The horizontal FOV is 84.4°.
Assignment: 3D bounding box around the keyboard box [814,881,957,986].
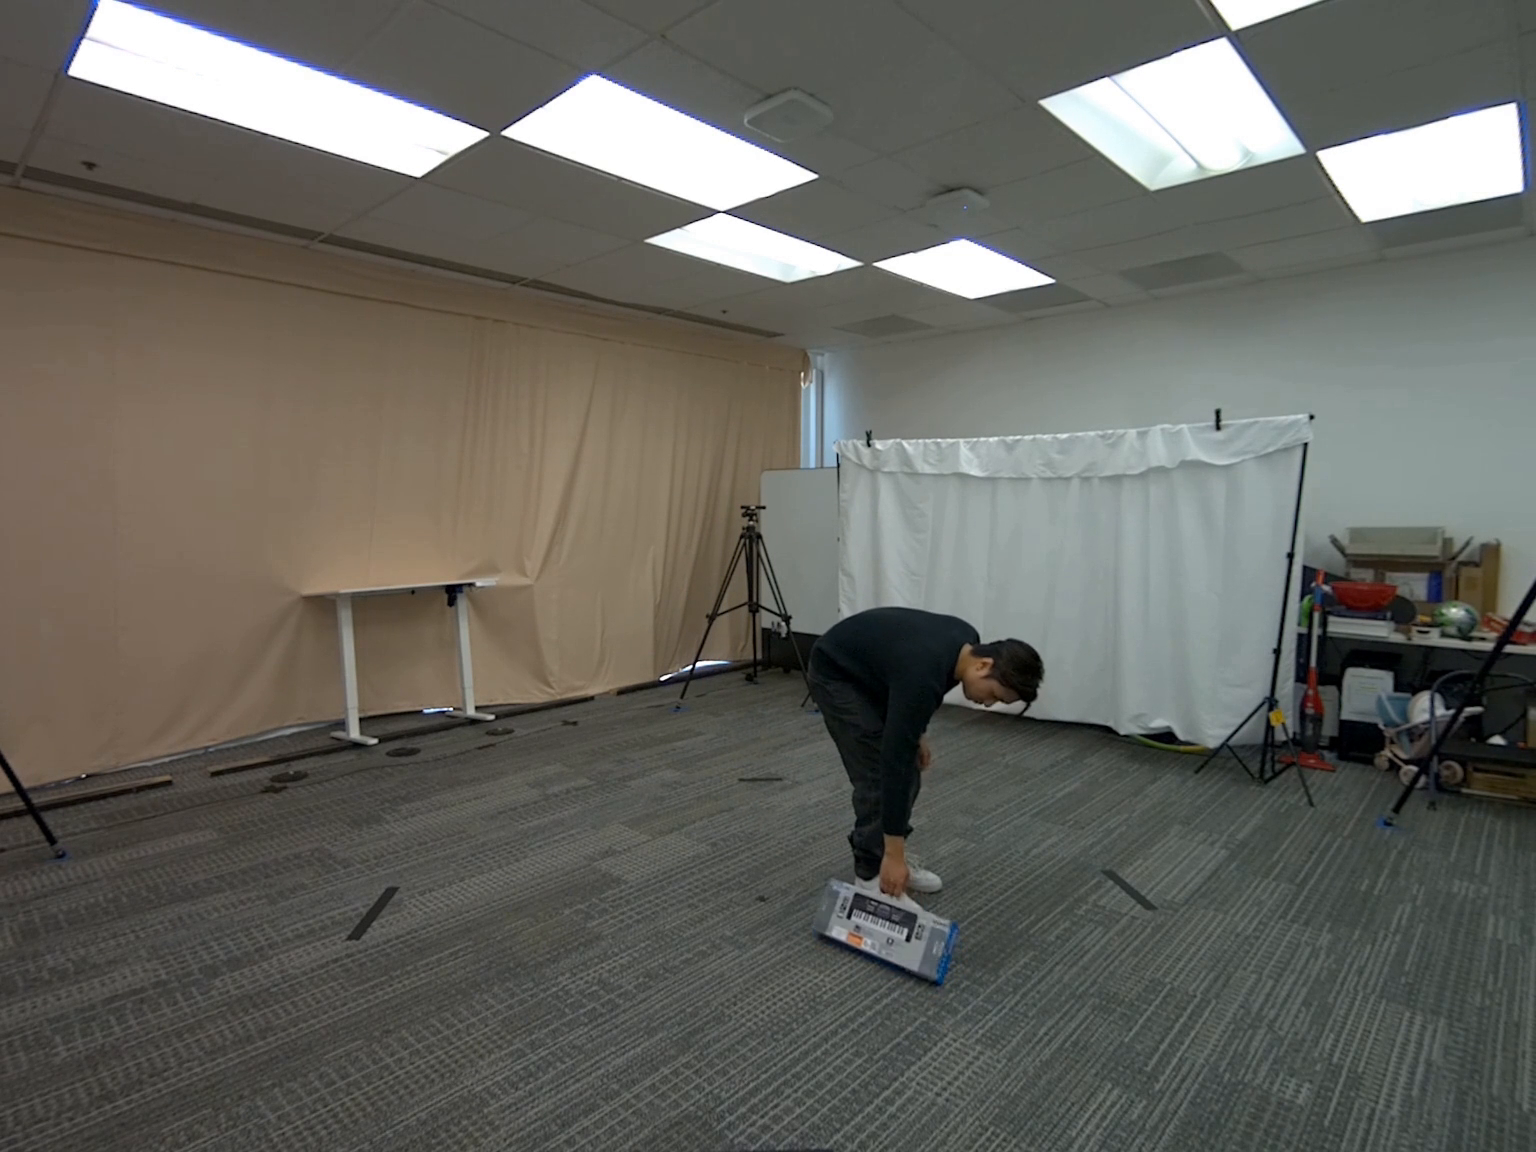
[{"bbox_3d":[0.359,1.092,2.609,0.451,0.176,0.057,4,-33,41],"label":"keyboard box"}]
